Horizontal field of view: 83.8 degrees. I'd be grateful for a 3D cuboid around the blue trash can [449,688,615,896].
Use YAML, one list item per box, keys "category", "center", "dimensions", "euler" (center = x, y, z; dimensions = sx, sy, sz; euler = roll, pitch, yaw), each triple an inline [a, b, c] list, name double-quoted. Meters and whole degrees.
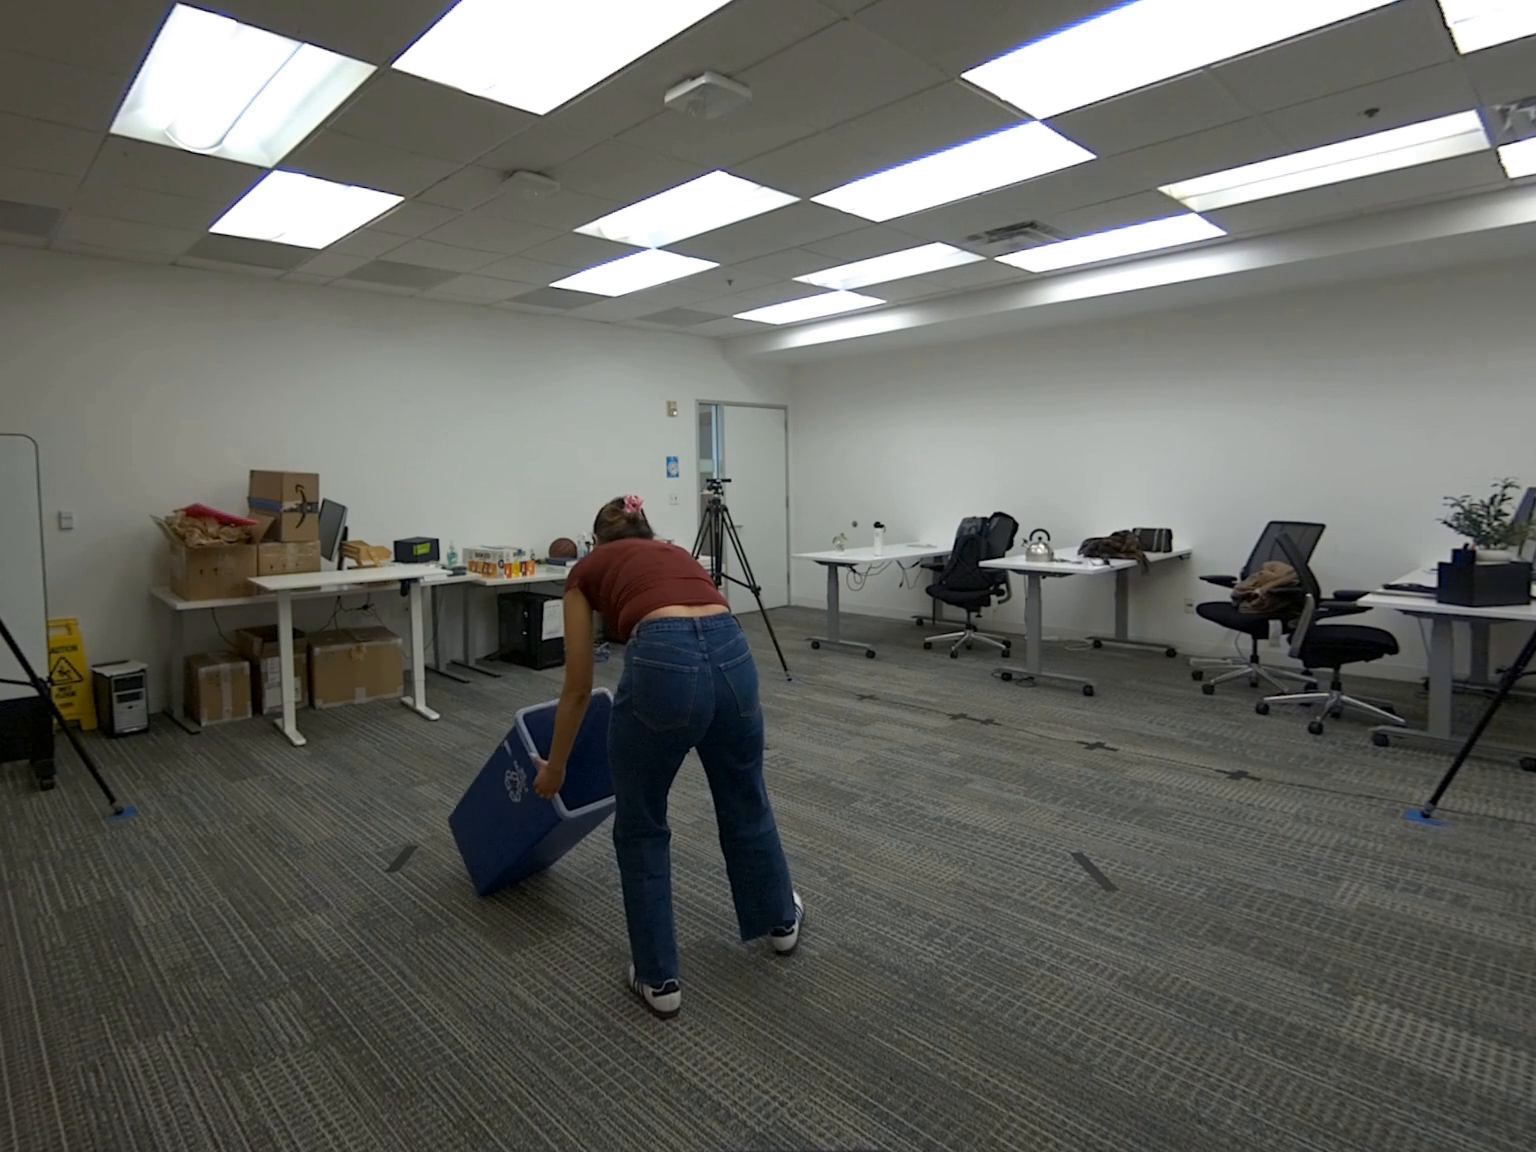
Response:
- category: "blue trash can"
  center: [-0.736, 0.744, 2.851]
  dimensions: [0.369, 0.384, 0.712]
  euler: [-9, -32, -48]
